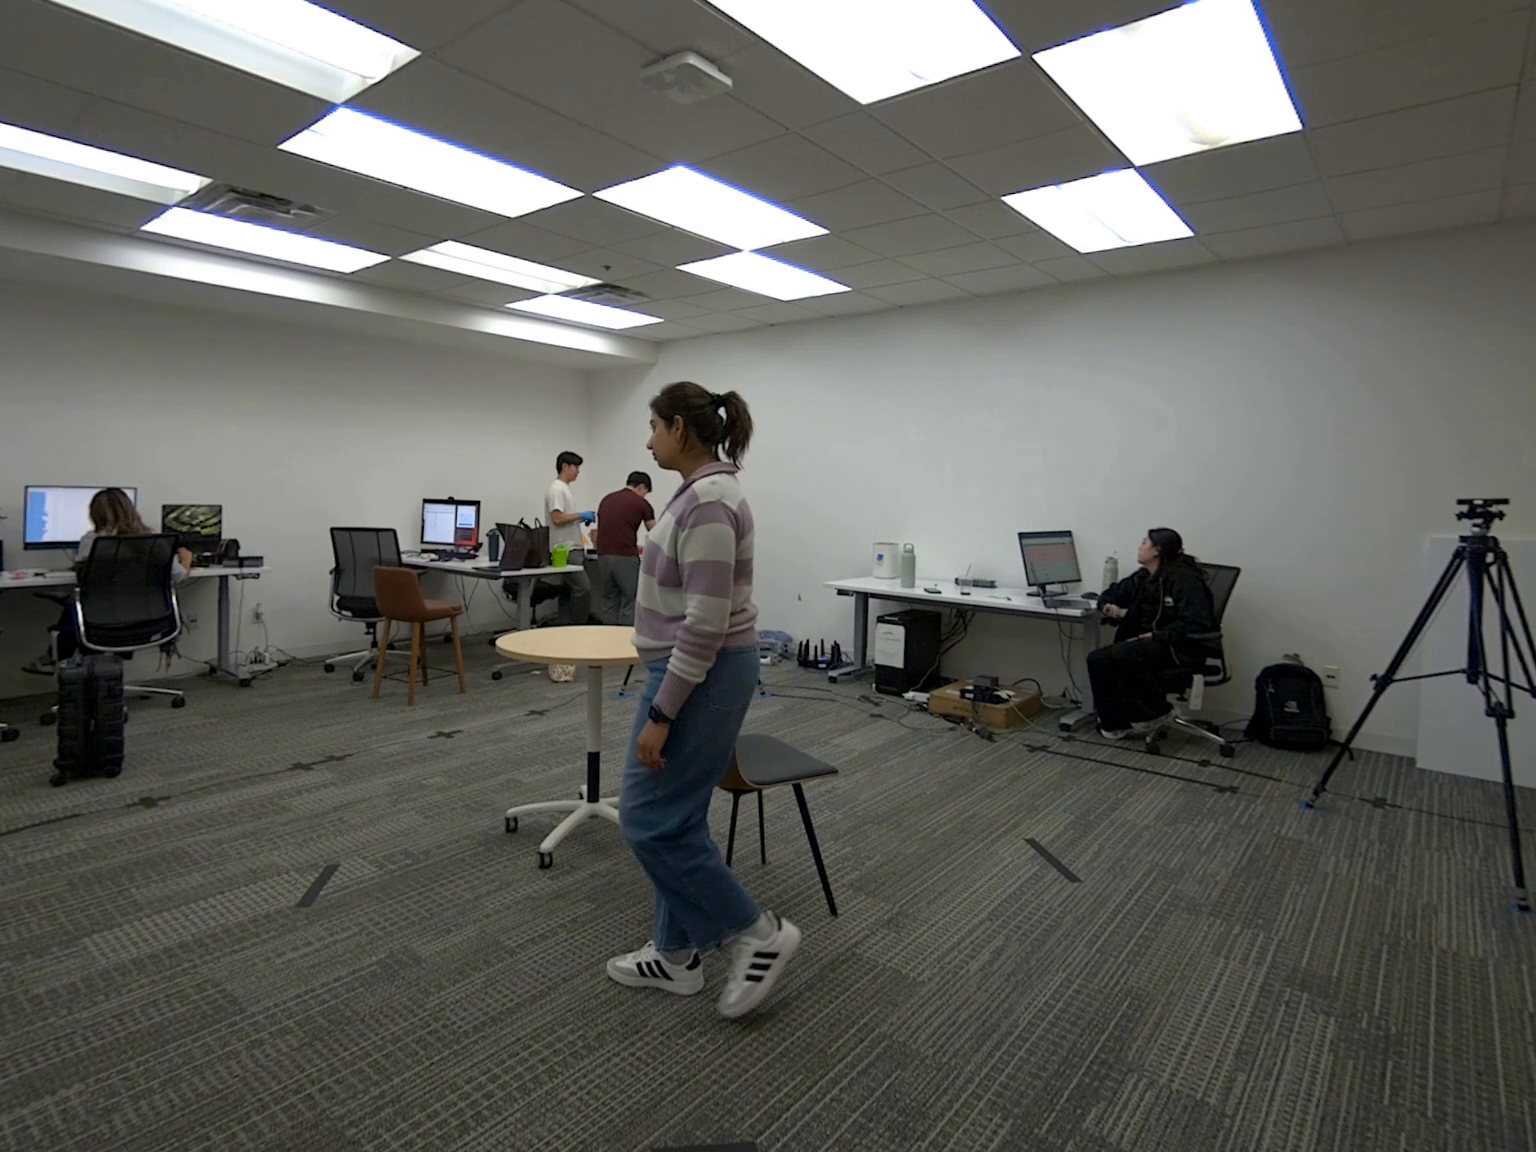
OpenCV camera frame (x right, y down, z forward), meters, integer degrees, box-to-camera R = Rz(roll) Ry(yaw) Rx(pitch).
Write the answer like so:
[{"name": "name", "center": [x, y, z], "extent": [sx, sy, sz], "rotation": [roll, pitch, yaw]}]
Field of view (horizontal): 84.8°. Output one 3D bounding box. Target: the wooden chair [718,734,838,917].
[{"name": "wooden chair", "center": [-0.073, 0.671, 2.855], "extent": [0.510, 0.873, 0.492], "rotation": [-5, 6, -31]}]
